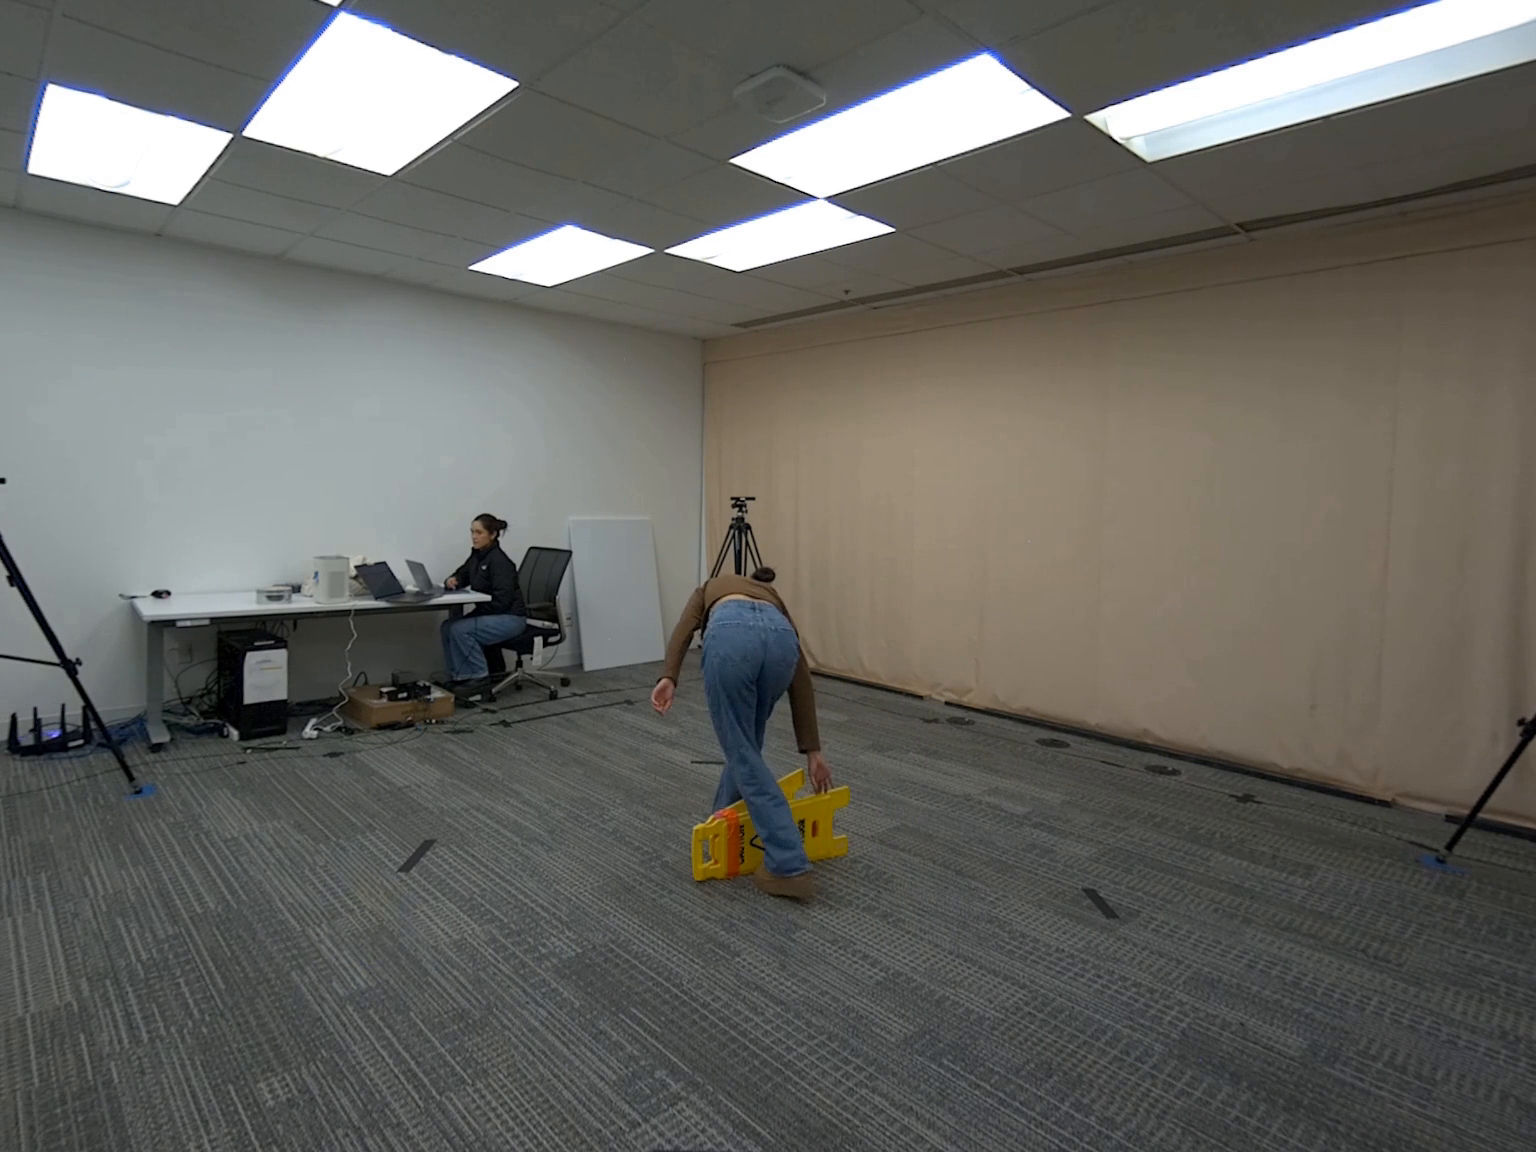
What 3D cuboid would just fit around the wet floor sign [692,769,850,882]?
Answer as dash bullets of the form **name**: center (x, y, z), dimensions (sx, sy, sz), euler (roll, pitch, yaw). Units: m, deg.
- **wet floor sign**: center (-0.019, 0.974, 3.216), dimensions (0.632, 0.281, 0.297), euler (-6, 8, -38)
